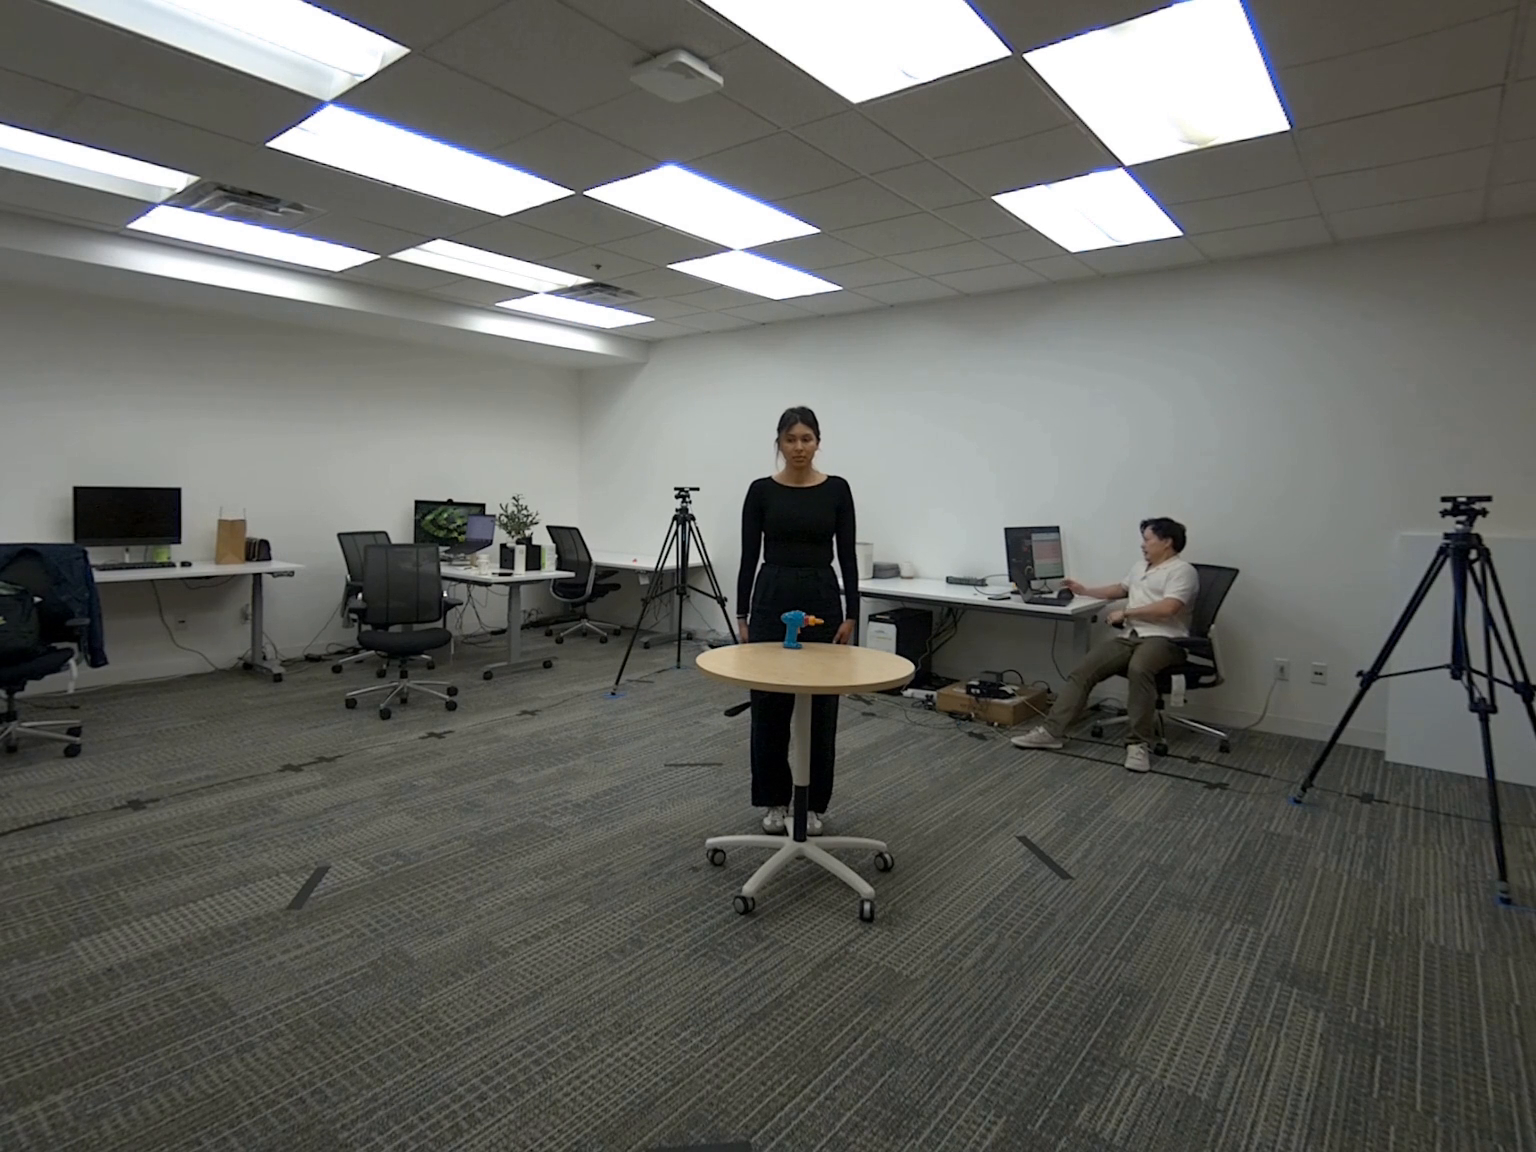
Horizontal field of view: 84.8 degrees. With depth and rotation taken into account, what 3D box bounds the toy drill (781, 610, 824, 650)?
[{"bbox_3d":[0.130,0.202,3.248,0.174,0.145,0.060,3,4,22],"label":"toy drill"}]
